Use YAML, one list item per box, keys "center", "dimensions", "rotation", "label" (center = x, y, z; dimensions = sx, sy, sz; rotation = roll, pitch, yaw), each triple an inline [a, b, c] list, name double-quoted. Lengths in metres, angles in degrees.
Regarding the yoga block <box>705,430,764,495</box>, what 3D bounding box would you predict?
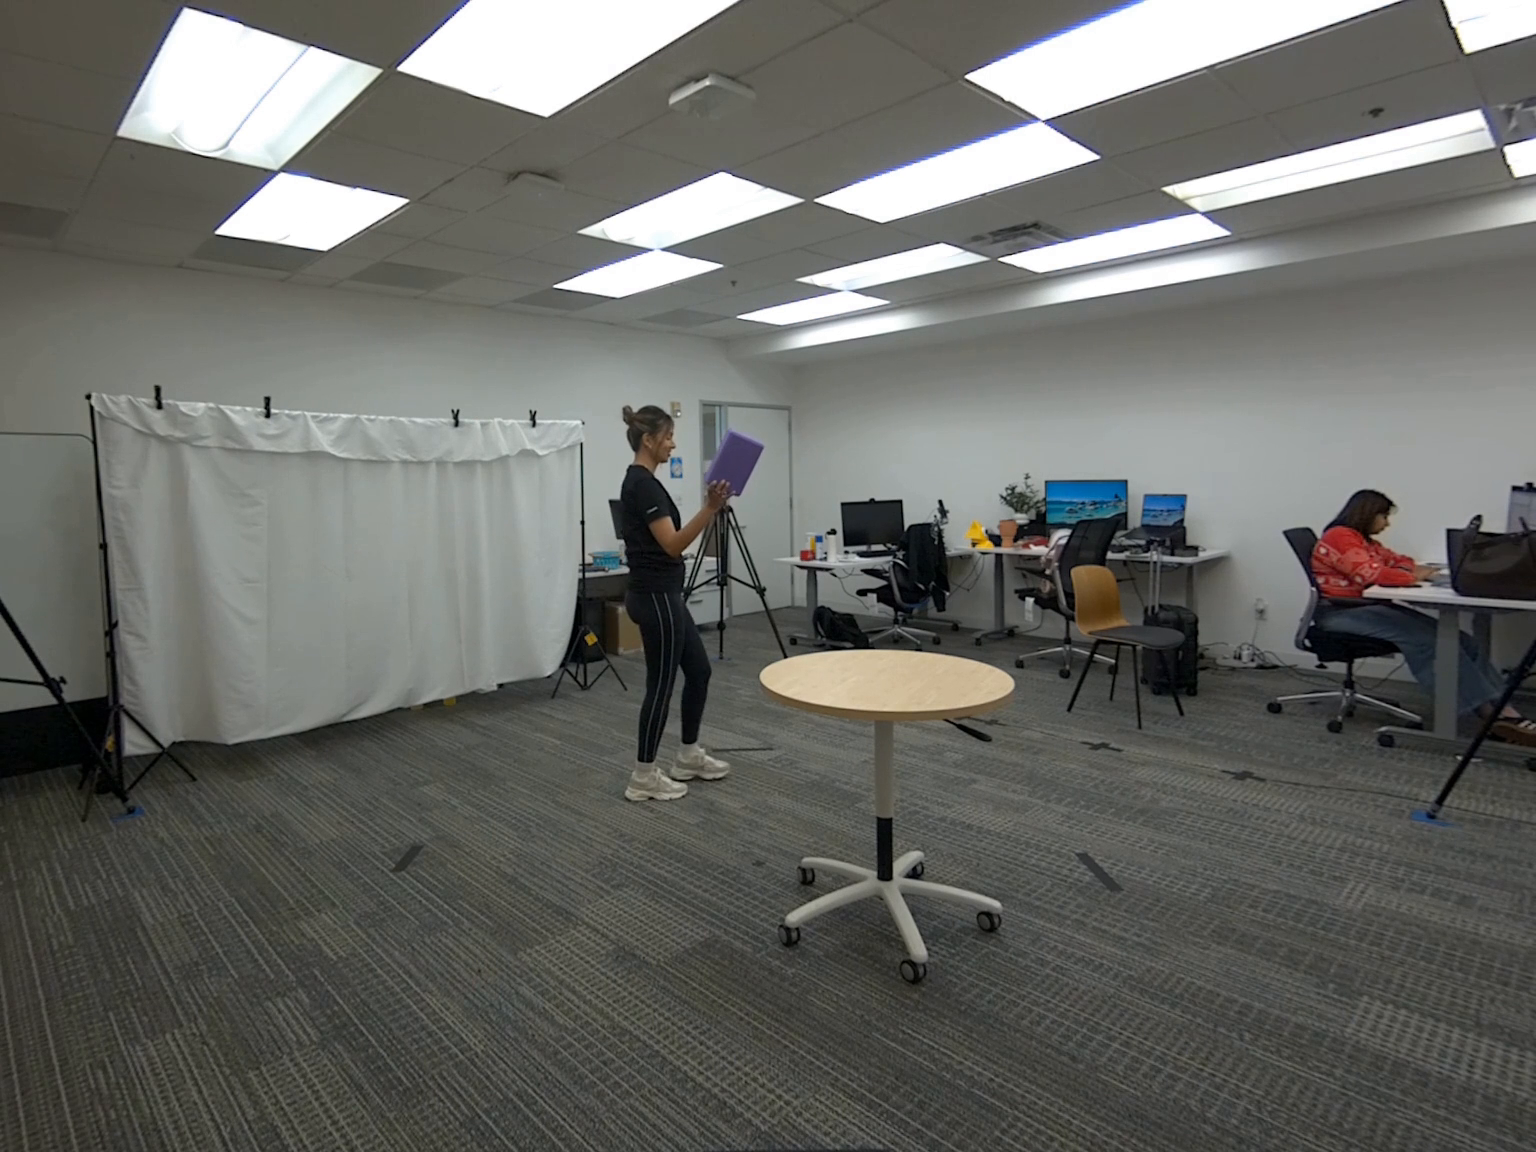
- center: [-0.133, -0.444, 3.315]
  dimensions: [0.146, 0.228, 0.078]
  rotation: [21, 20, -17]
  label: "yoga block"
